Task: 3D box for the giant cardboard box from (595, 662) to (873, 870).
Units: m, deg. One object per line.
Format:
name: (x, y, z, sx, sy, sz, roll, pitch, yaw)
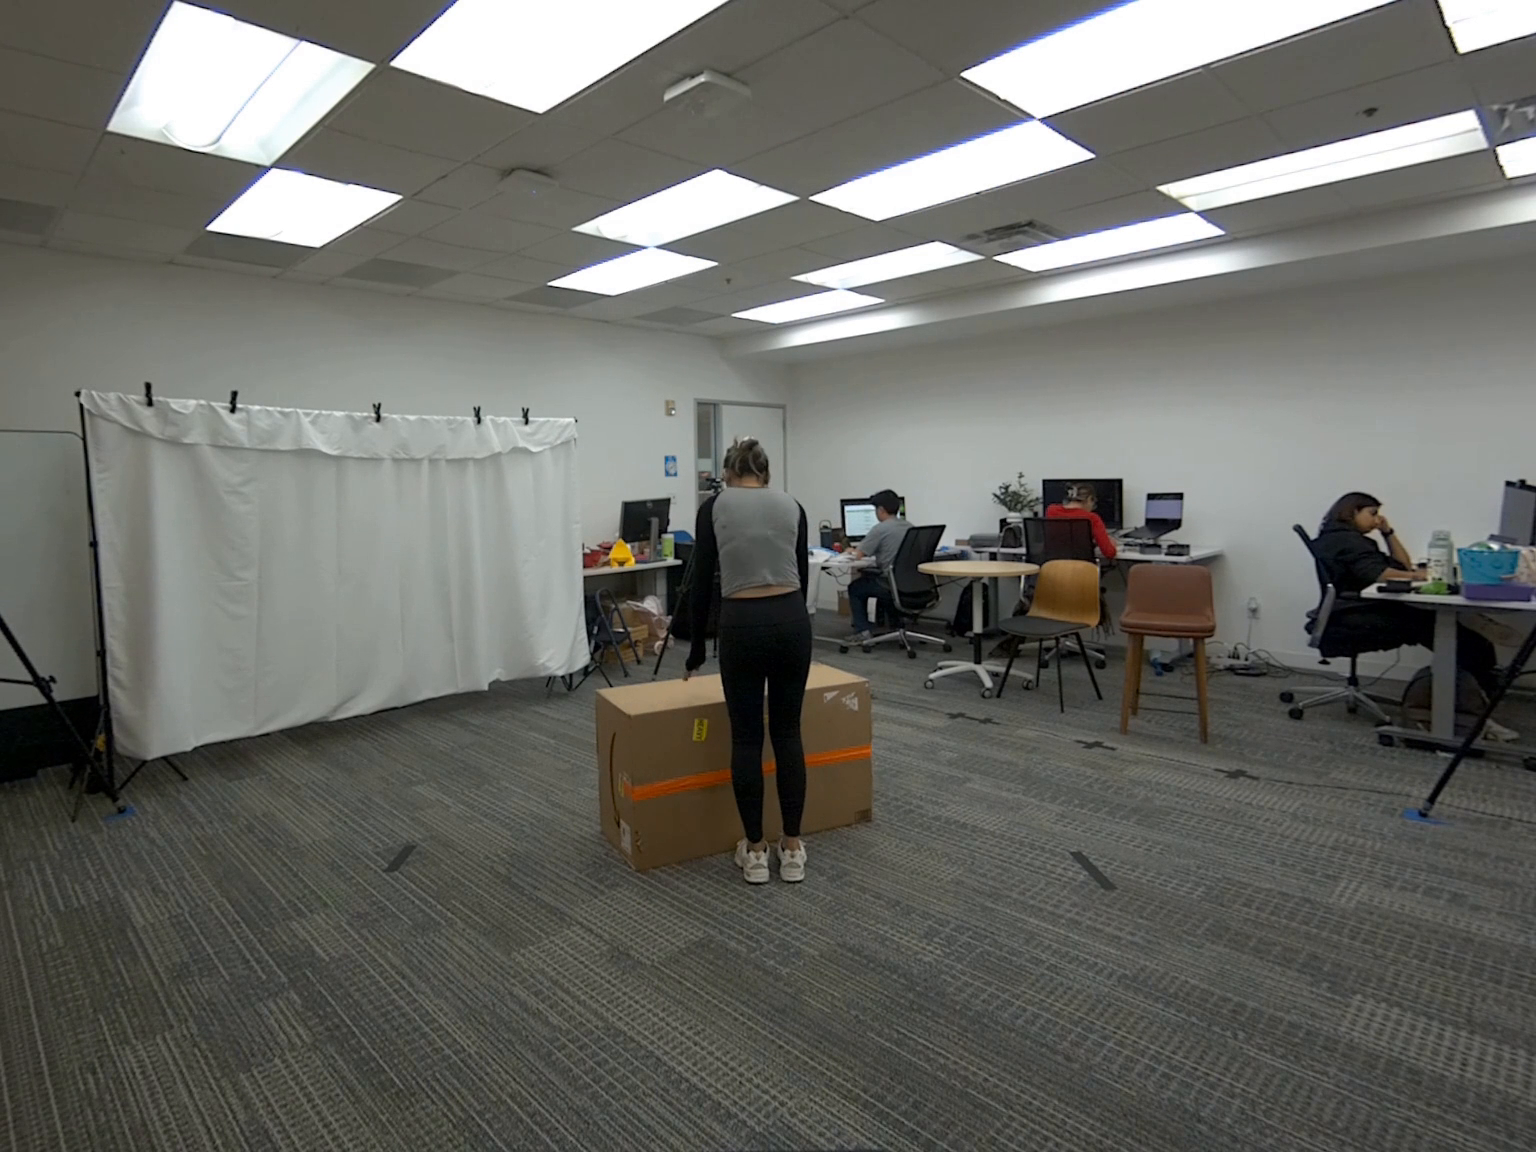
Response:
giant cardboard box: (-0.132, 0.717, 3.427, 1.004, 0.575, 0.437, -4, 5, -25)
